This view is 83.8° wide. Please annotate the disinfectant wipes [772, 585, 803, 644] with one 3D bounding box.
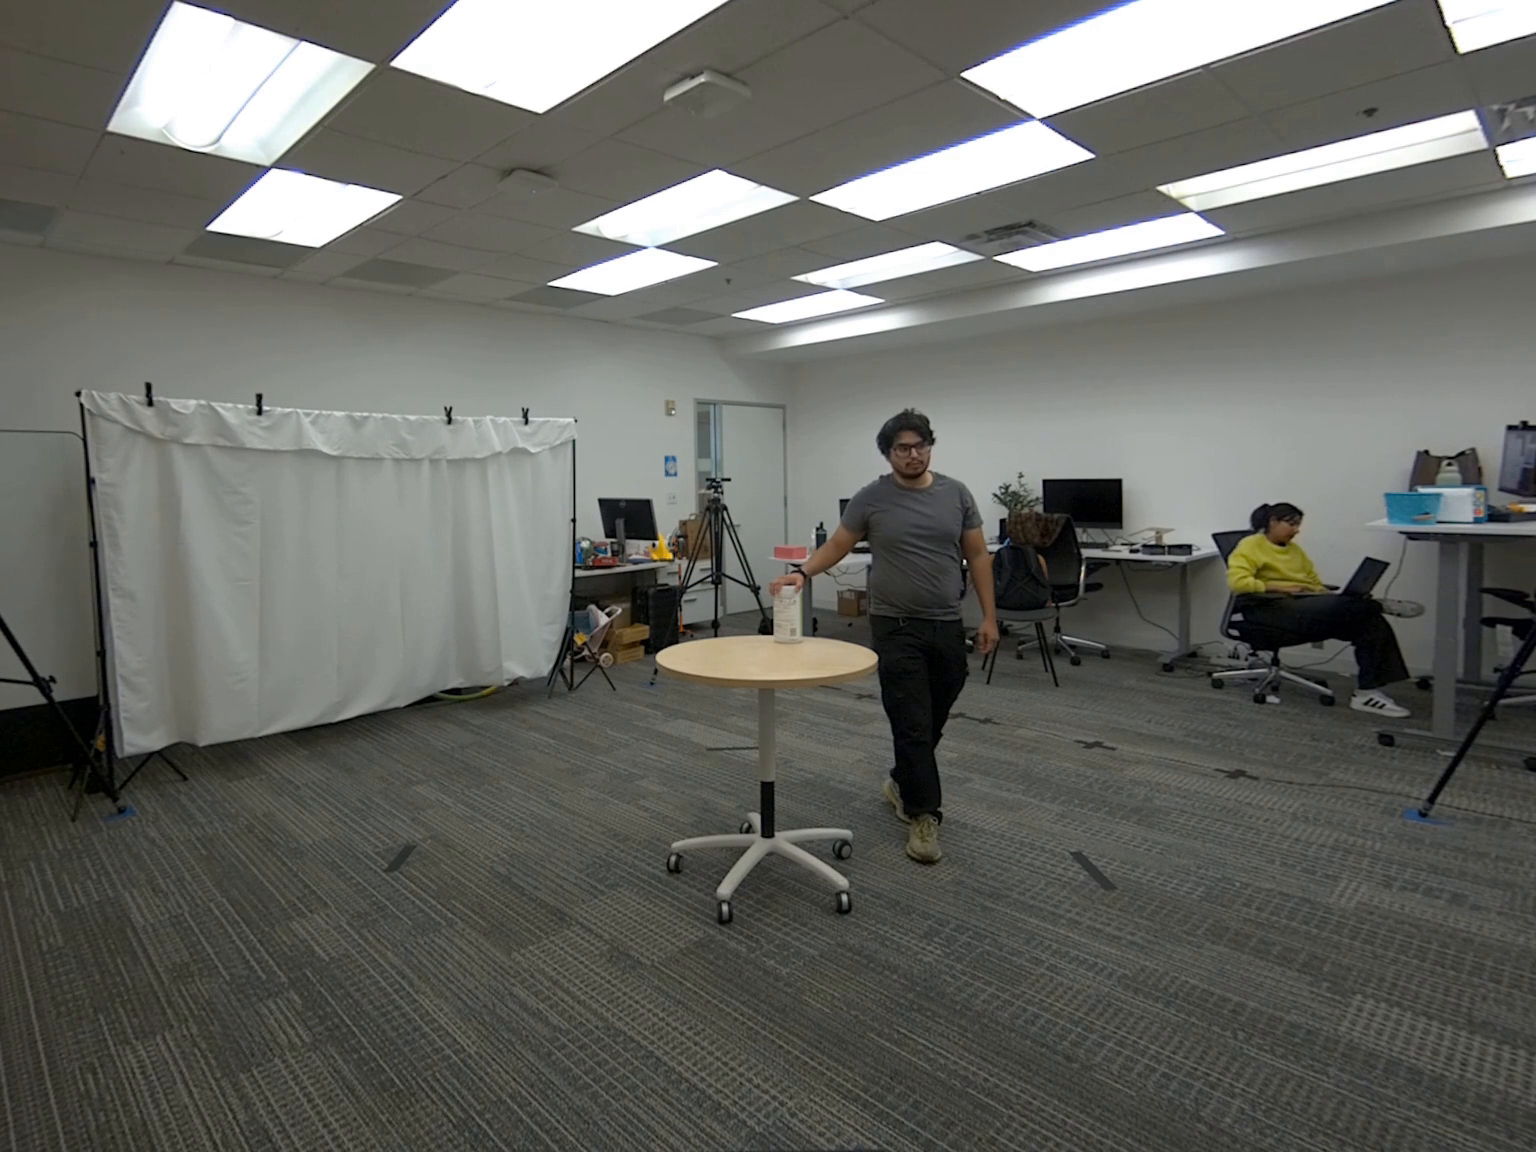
[{"bbox_3d":[0.079,0.142,3.218,0.118,0.217,0.118,1,1,-2],"label":"disinfectant wipes"}]
